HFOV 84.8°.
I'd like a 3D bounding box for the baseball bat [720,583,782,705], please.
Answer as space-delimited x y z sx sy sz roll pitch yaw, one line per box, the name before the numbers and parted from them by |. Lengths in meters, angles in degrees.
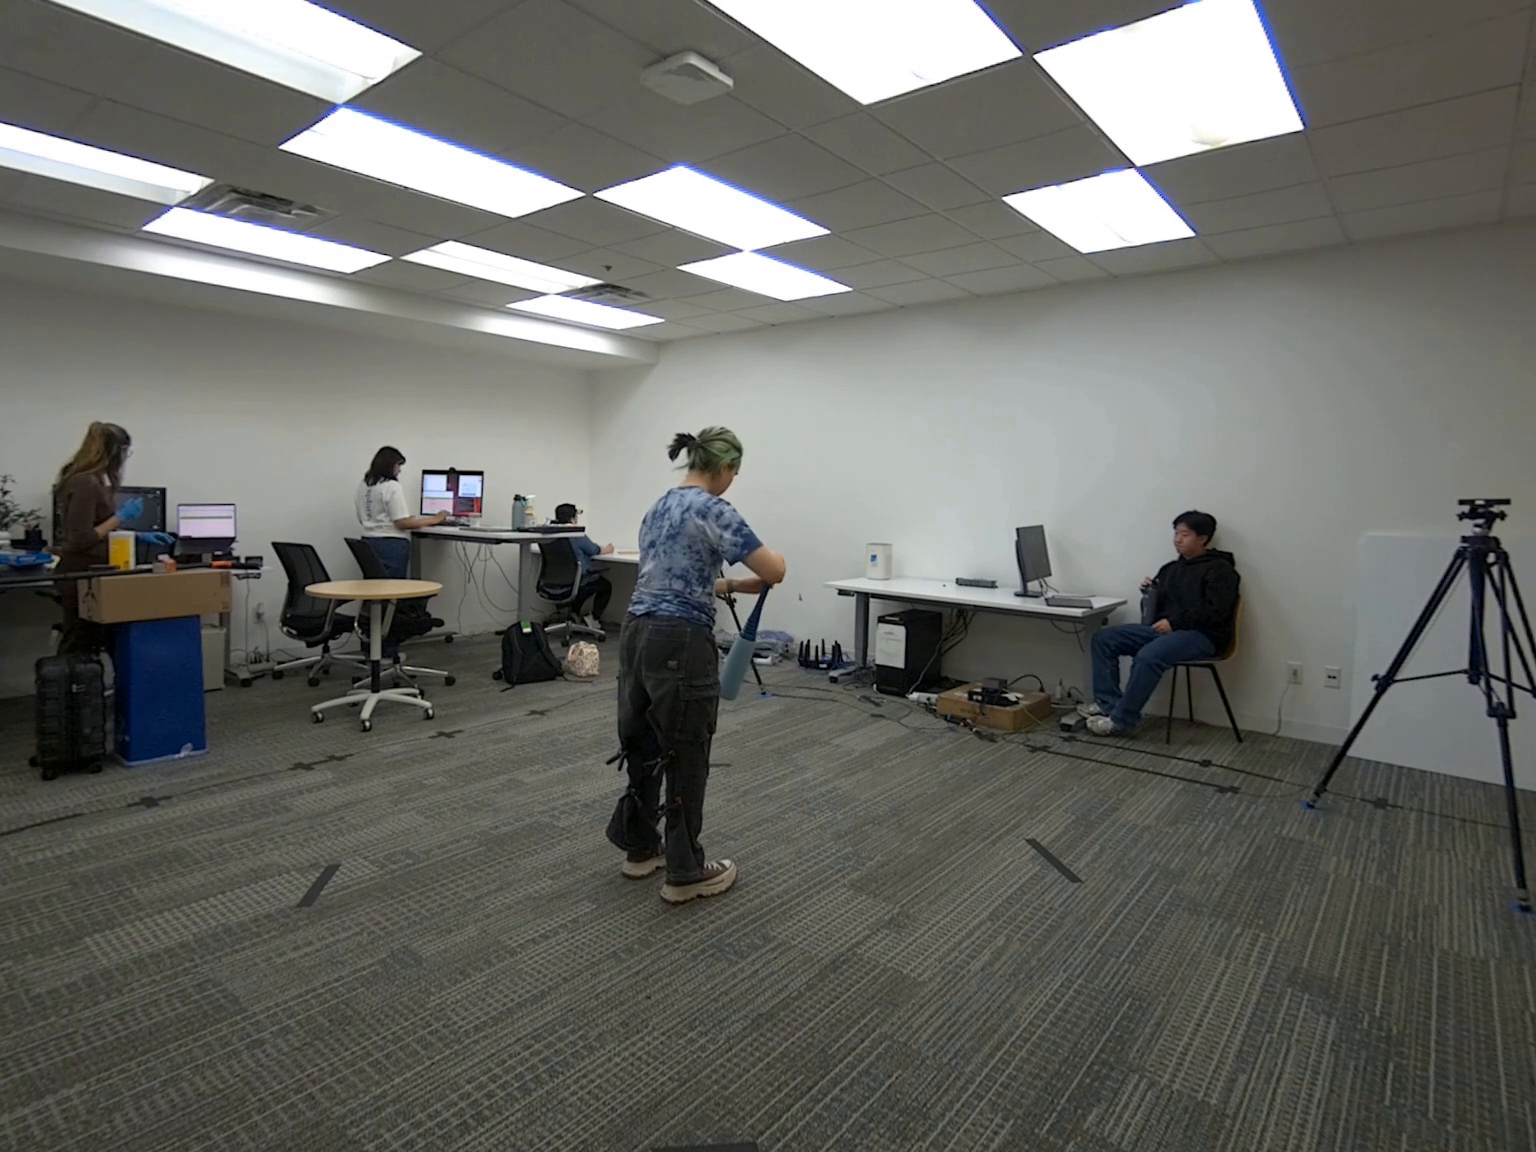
baseball bat | -0.079 0.211 3.176 0.088 0.540 0.090 20 10 -6
